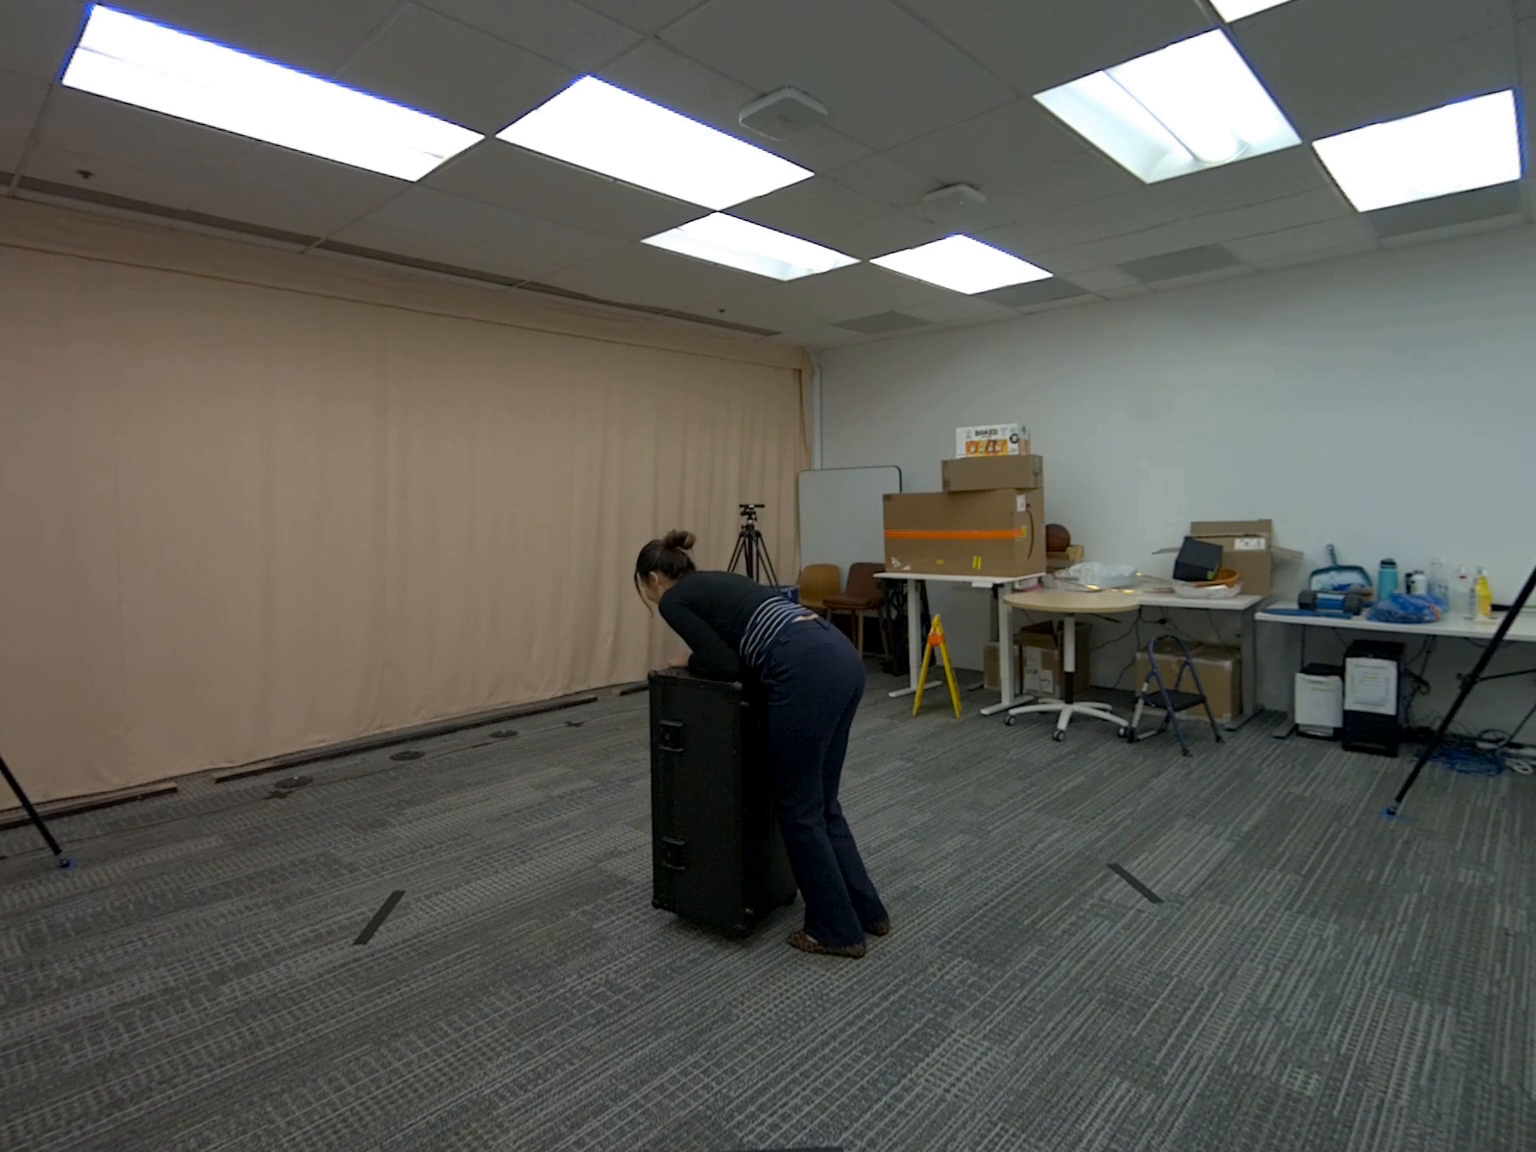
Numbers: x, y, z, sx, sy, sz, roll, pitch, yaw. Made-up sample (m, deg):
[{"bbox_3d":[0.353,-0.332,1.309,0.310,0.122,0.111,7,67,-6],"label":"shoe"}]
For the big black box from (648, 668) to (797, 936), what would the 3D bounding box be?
[{"bbox_3d":[-0.100,0.728,2.863,0.408,0.859,0.507,2,4,32],"label":"big black box"}]
